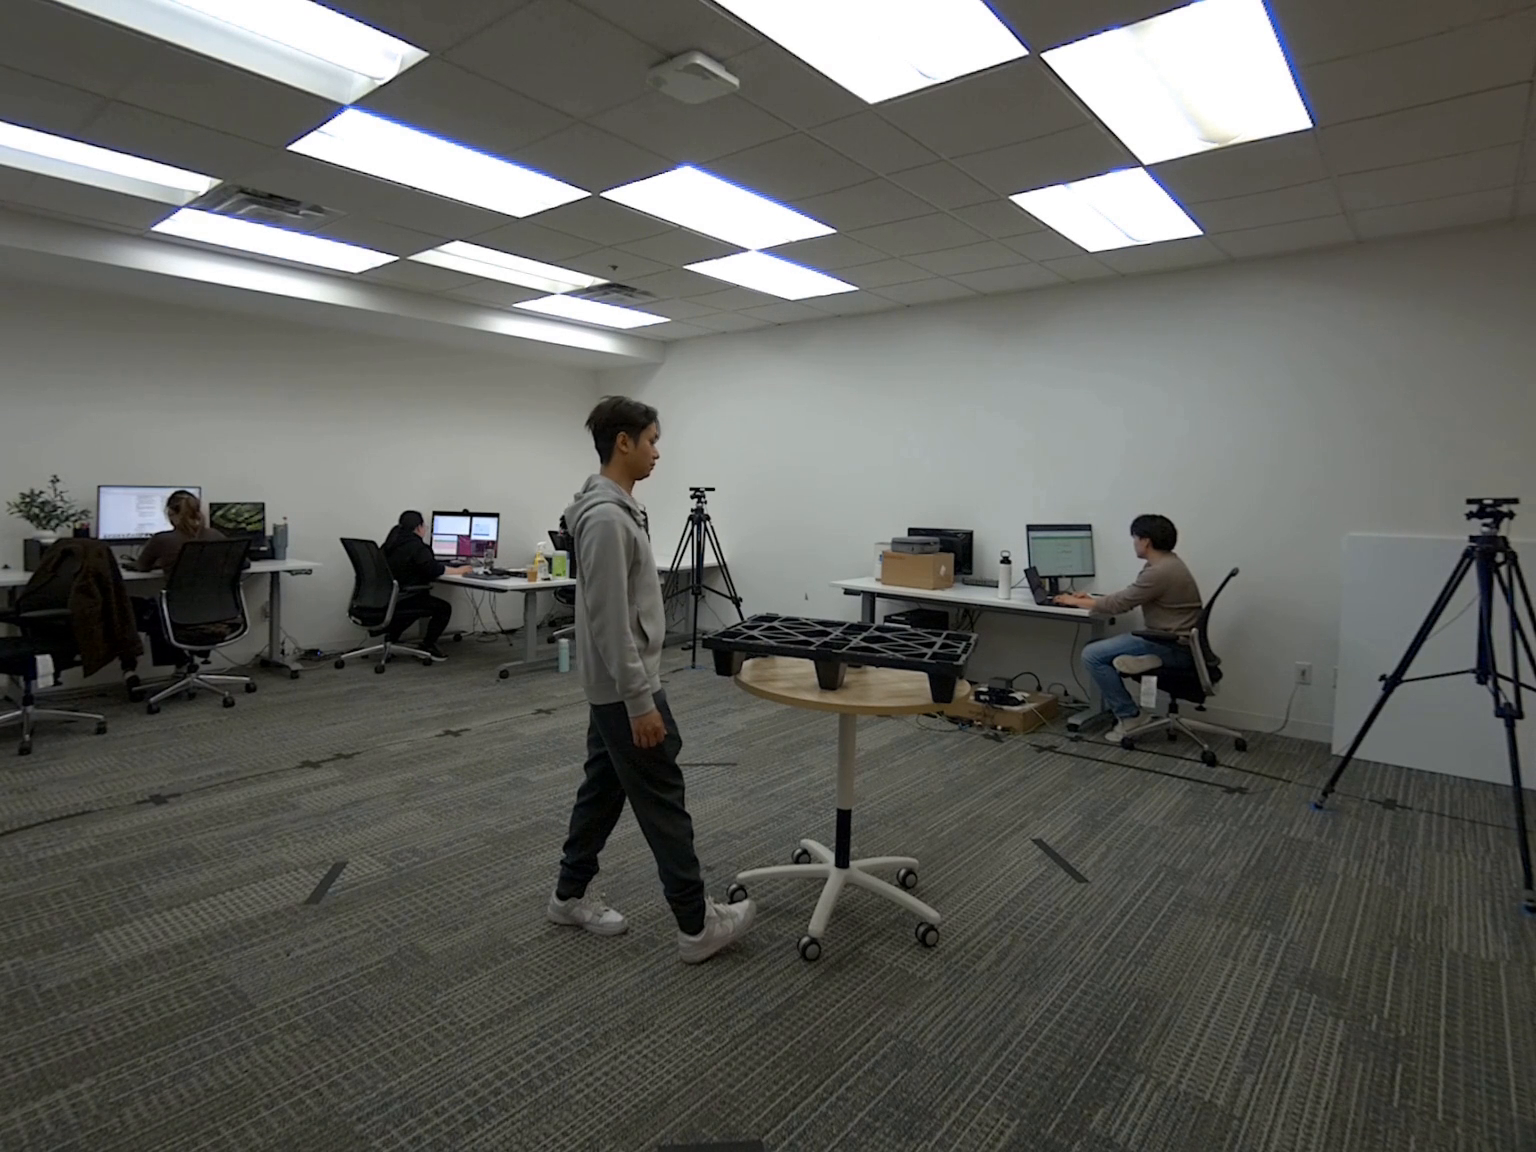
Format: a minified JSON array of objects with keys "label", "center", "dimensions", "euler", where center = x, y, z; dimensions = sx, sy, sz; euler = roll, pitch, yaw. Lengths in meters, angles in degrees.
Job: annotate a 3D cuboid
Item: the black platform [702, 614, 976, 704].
[{"label":"black platform","center":[0.251,0.259,2.794],"dimensions":[0.824,0.142,0.594],"euler":[4,7,21]}]
